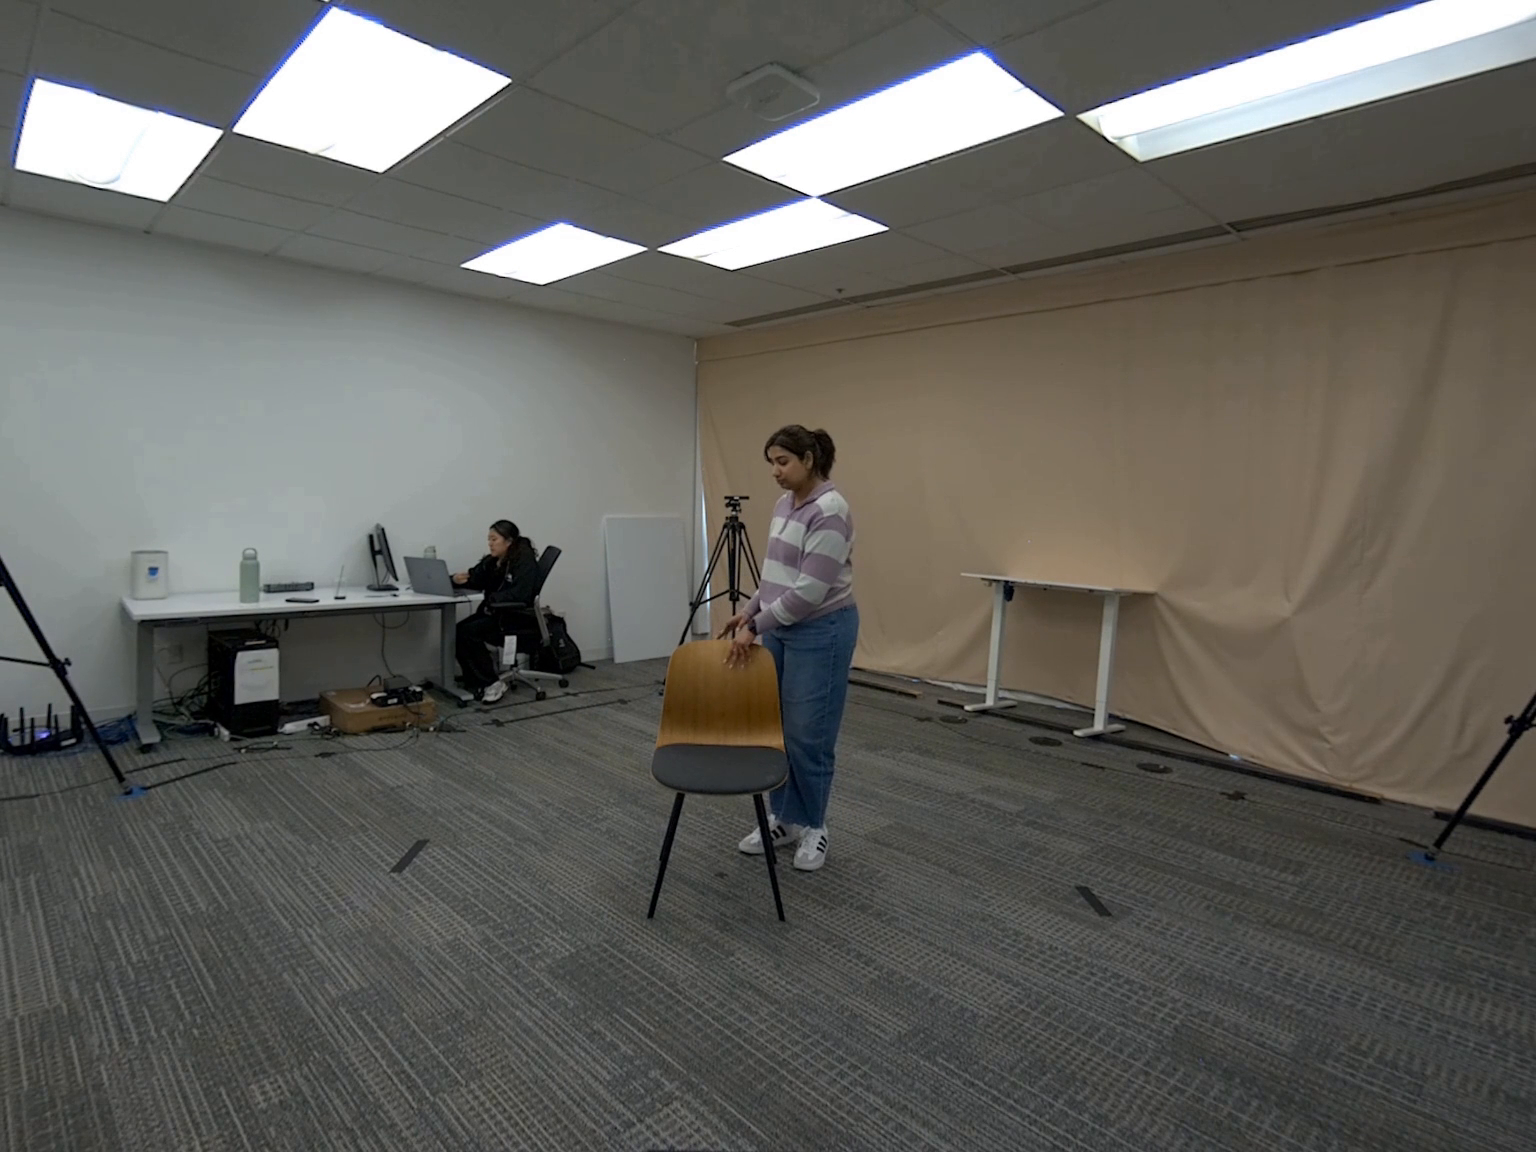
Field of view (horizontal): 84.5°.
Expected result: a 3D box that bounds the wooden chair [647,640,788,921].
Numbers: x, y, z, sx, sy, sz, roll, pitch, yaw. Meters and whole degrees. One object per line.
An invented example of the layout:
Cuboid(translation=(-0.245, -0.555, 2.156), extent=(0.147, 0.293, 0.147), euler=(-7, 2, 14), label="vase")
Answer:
Cuboid(translation=(-0.176, 0.687, 2.950), extent=(0.477, 0.877, 0.524), euler=(2, 0, -2), label="wooden chair")
